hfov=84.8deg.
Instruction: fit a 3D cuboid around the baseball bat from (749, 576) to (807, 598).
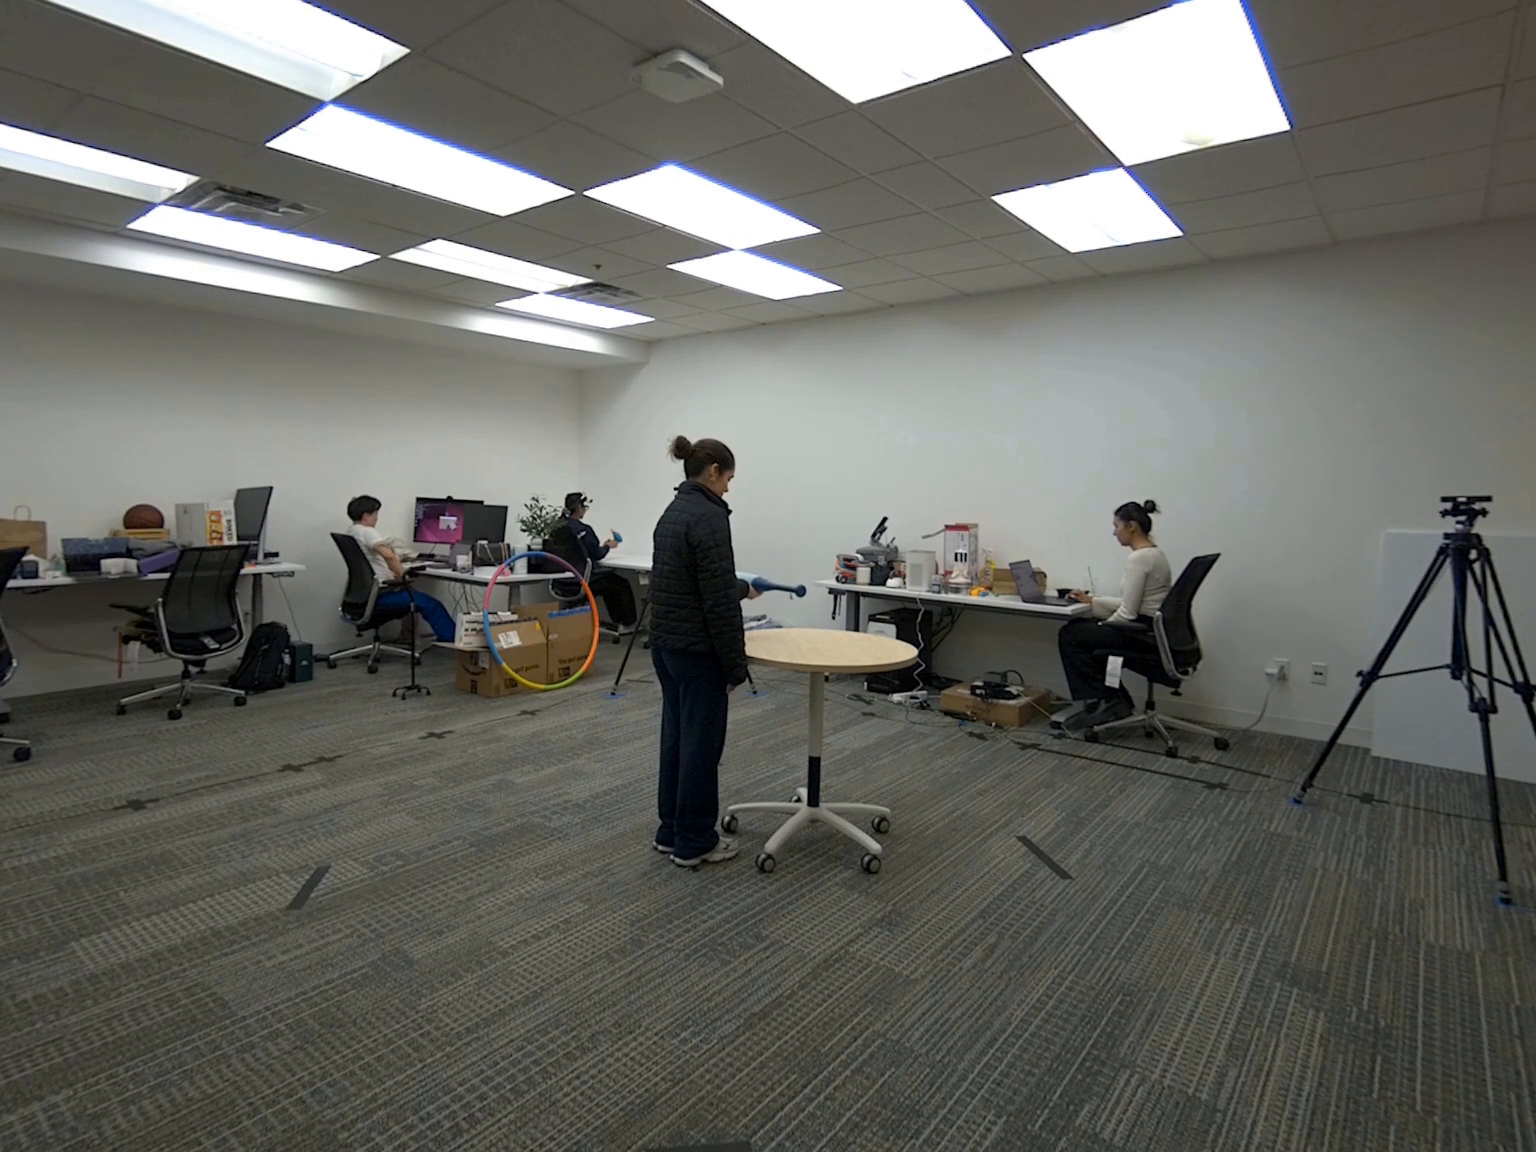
[{"bbox_3d":[-0.019,0.027,3.533,0.086,0.089,0.560,-2,6,-31],"label":"baseball bat"}]
